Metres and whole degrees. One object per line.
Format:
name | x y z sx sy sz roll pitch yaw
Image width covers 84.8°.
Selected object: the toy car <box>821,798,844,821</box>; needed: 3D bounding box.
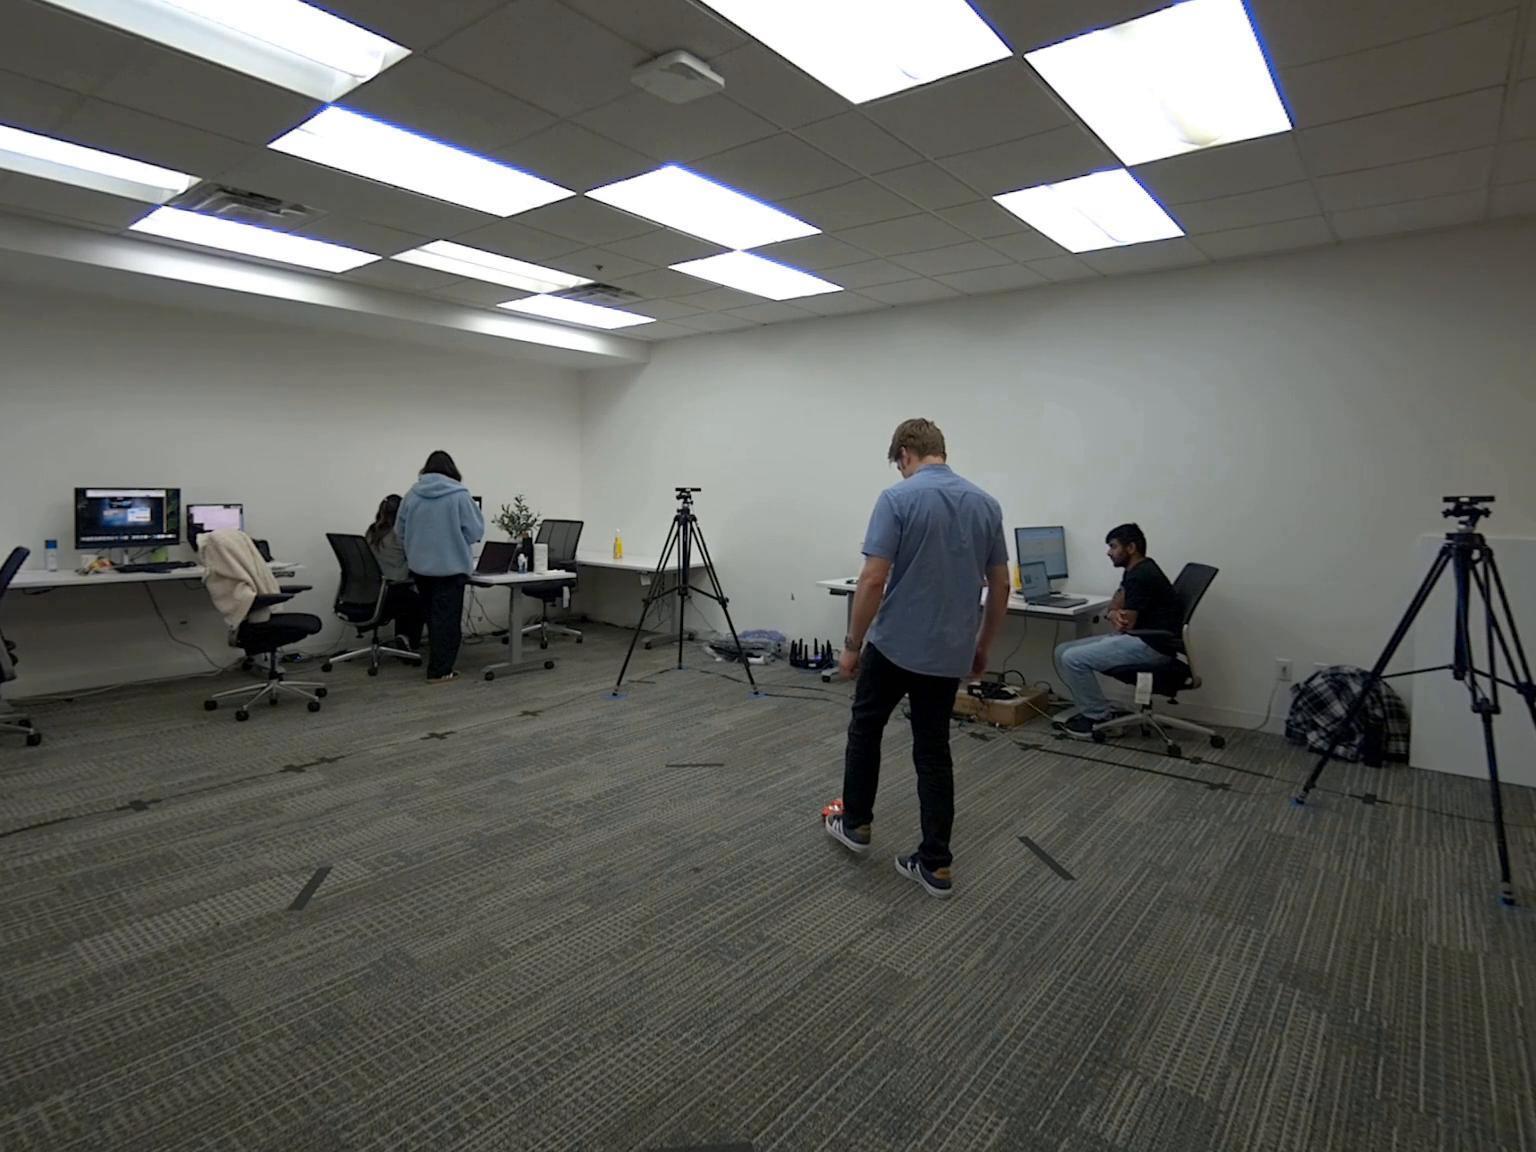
toy car | 0.305 0.996 3.622 0.134 0.083 0.246 5 -5 29
